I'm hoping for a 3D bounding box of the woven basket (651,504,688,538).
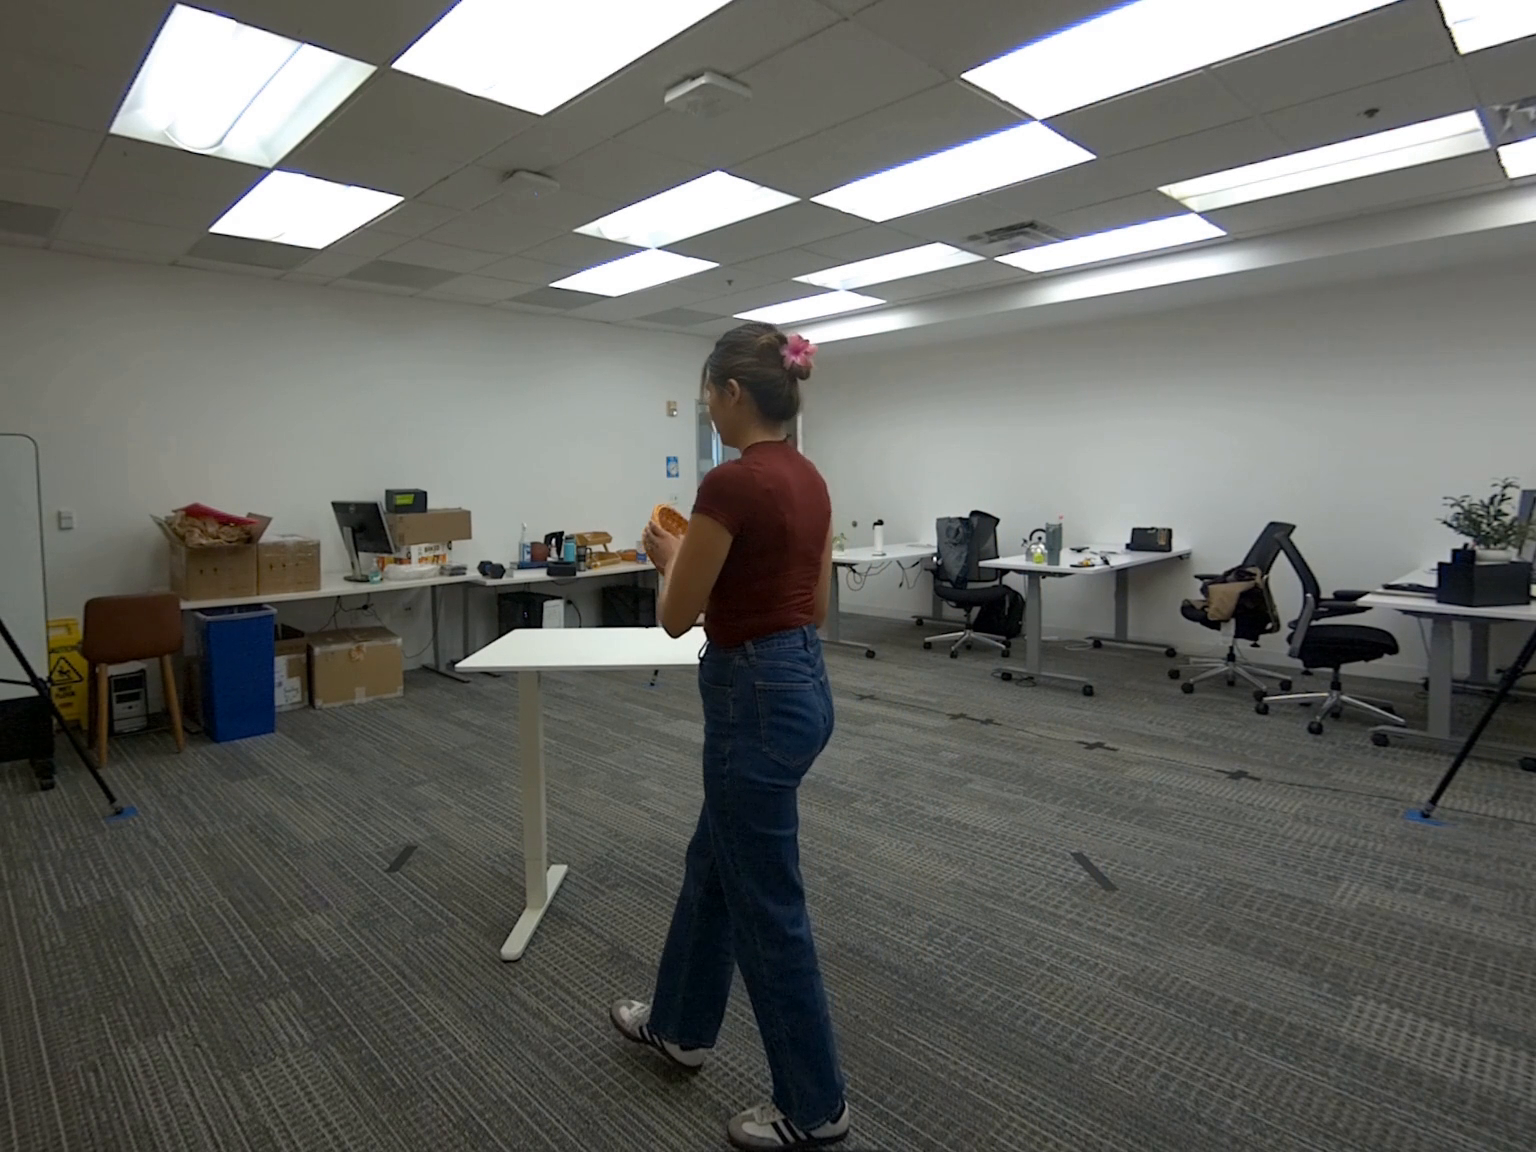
[{"bbox_3d":[-0.195,-0.021,2.155,0.074,0.340,0.259,-33,25,12],"label":"woven basket"}]
